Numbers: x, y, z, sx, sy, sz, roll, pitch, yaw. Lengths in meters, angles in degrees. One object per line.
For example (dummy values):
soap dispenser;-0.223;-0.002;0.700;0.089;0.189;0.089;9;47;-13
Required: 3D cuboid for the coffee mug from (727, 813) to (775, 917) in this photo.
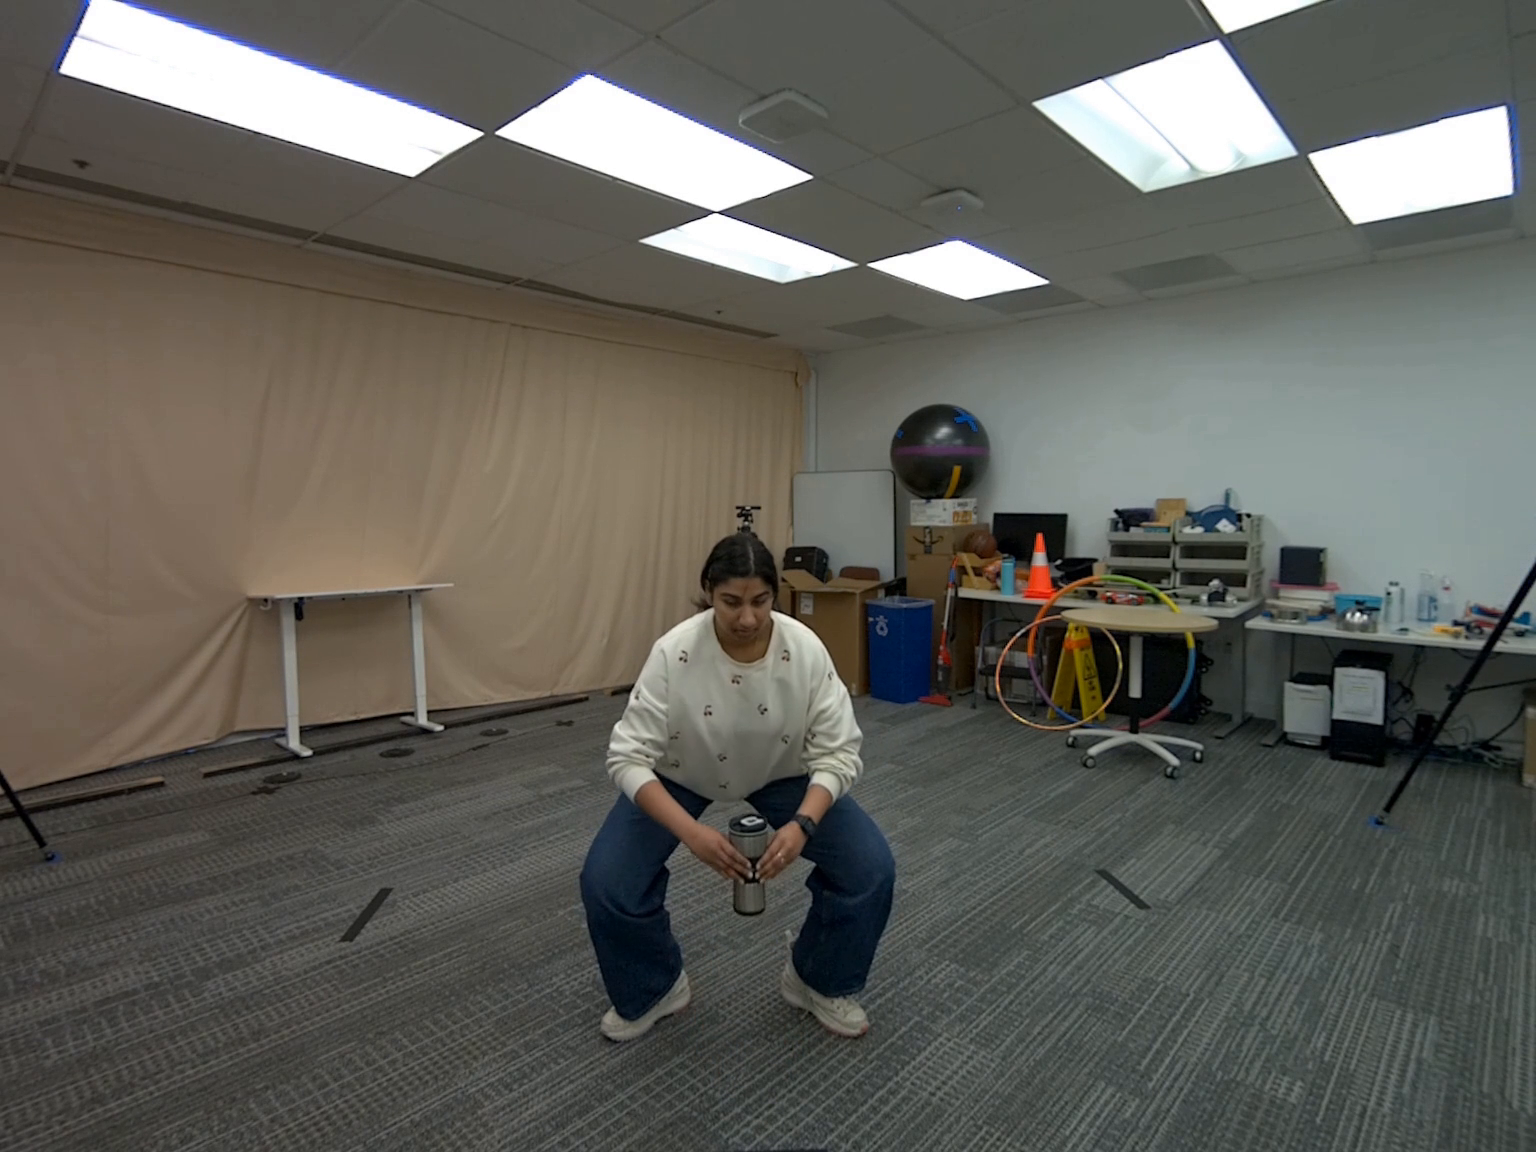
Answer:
coffee mug;-0.033;0.650;1.864;0.085;0.203;0.125;1;-5;-34
